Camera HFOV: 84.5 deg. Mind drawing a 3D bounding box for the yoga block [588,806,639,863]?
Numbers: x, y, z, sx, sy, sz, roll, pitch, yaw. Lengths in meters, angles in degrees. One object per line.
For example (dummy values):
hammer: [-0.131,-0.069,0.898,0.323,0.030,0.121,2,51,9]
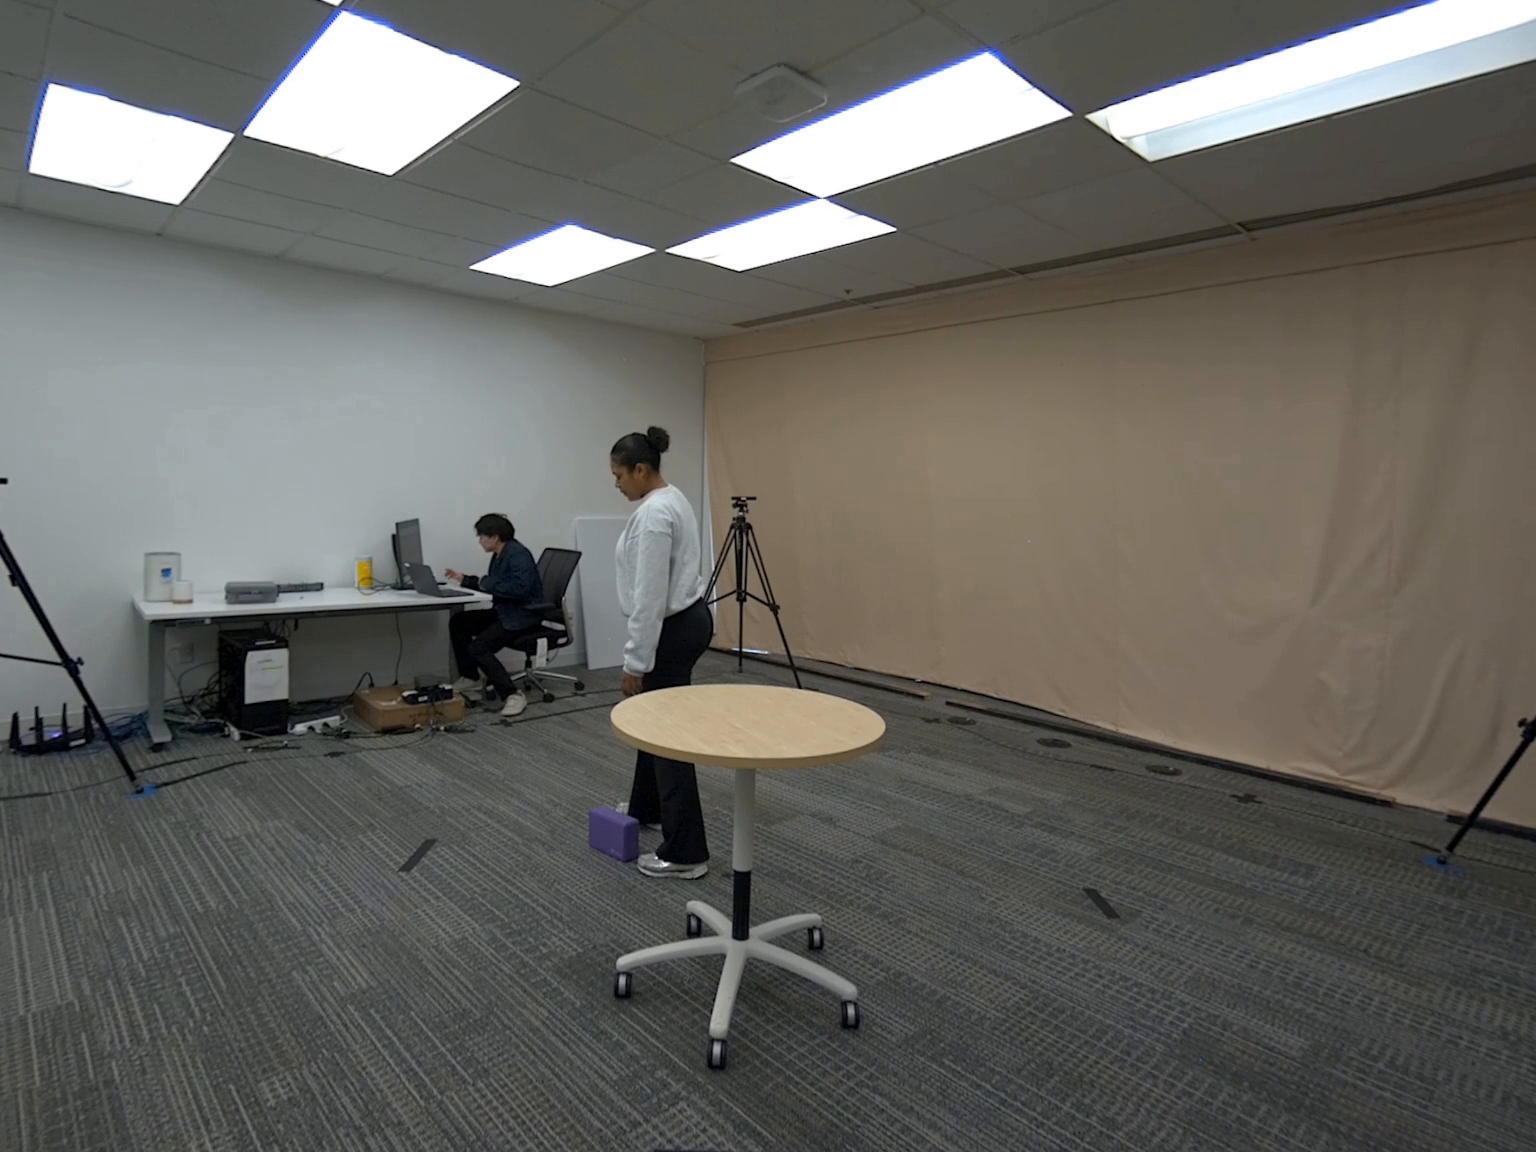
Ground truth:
yoga block: [-0.603,0.995,3.291,0.235,0.149,0.074,2,1,39]
